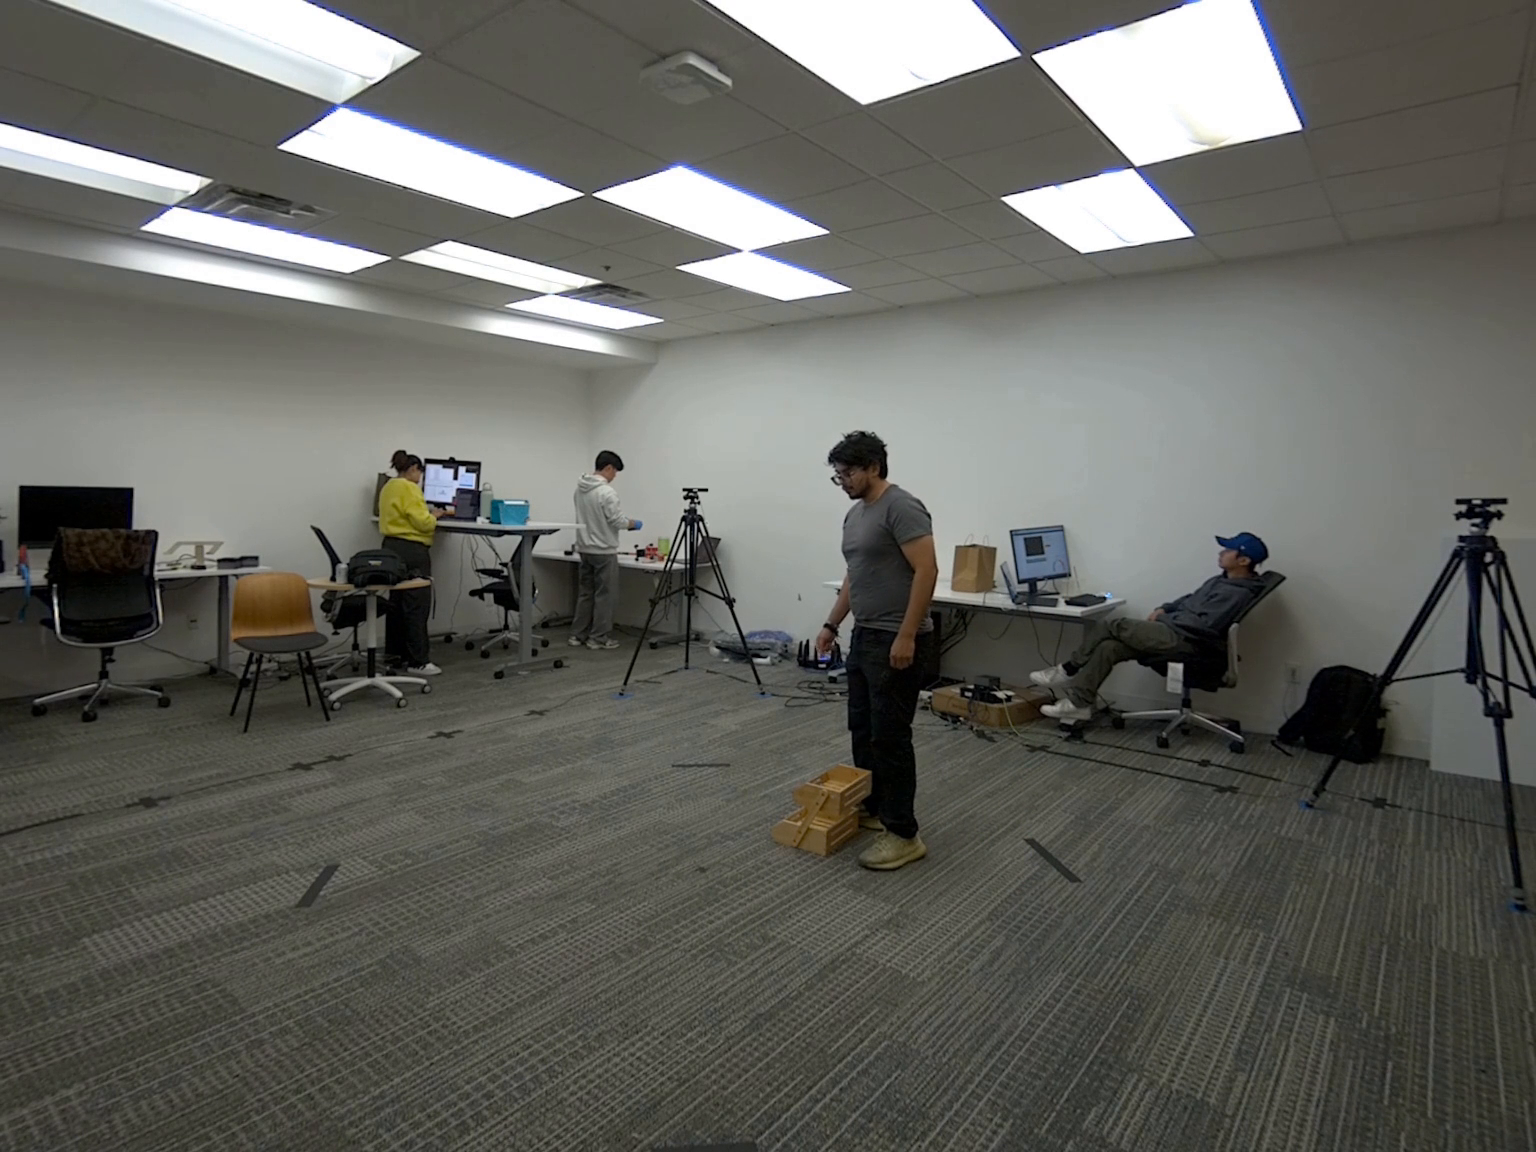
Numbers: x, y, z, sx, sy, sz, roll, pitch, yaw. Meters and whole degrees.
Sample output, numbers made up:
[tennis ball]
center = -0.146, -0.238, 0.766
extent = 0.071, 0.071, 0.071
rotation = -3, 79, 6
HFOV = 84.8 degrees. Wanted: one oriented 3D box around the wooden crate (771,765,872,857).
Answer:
[wooden crate]
center = 0.205, 0.913, 3.420
extent = 0.311, 0.272, 0.316
rotation = 5, 6, 31
